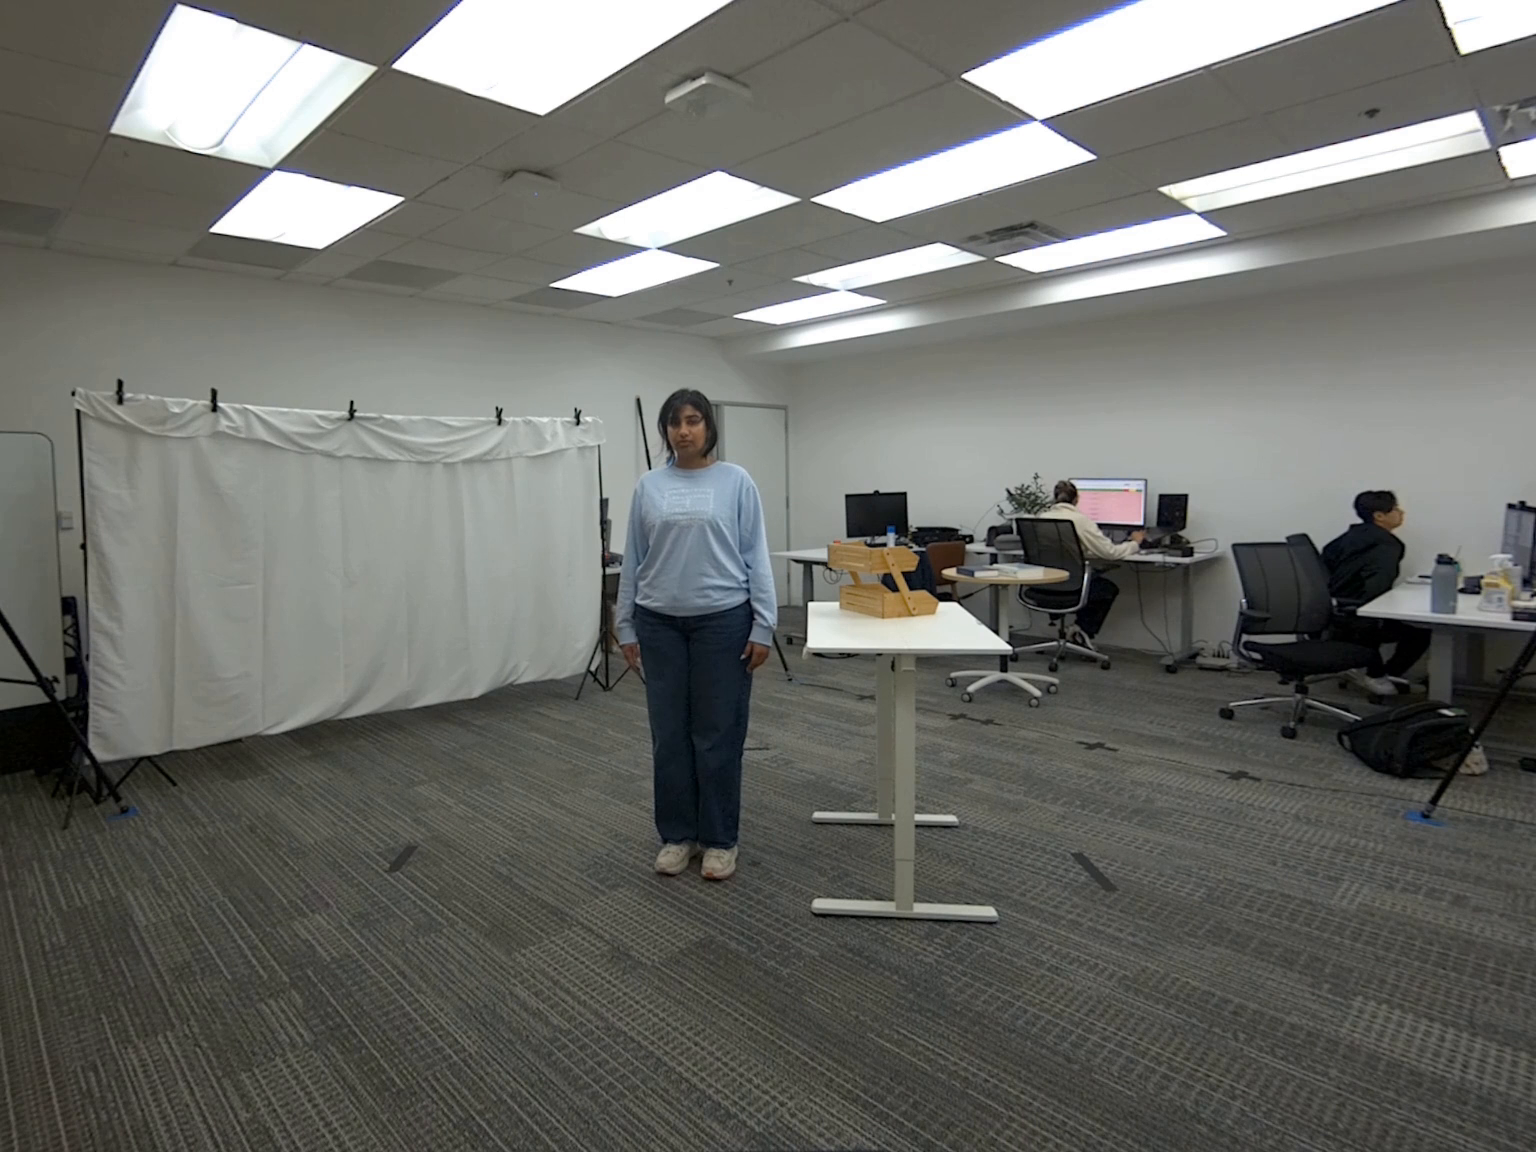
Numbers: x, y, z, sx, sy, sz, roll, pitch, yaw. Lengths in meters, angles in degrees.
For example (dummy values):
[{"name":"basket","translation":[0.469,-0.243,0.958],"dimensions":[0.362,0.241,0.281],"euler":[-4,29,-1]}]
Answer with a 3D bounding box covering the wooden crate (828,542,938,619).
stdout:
[{"name":"wooden crate","translation":[0.445,0.006,3.273],"dimensions":[0.296,0.272,0.333],"euler":[-3,6,-26]}]
